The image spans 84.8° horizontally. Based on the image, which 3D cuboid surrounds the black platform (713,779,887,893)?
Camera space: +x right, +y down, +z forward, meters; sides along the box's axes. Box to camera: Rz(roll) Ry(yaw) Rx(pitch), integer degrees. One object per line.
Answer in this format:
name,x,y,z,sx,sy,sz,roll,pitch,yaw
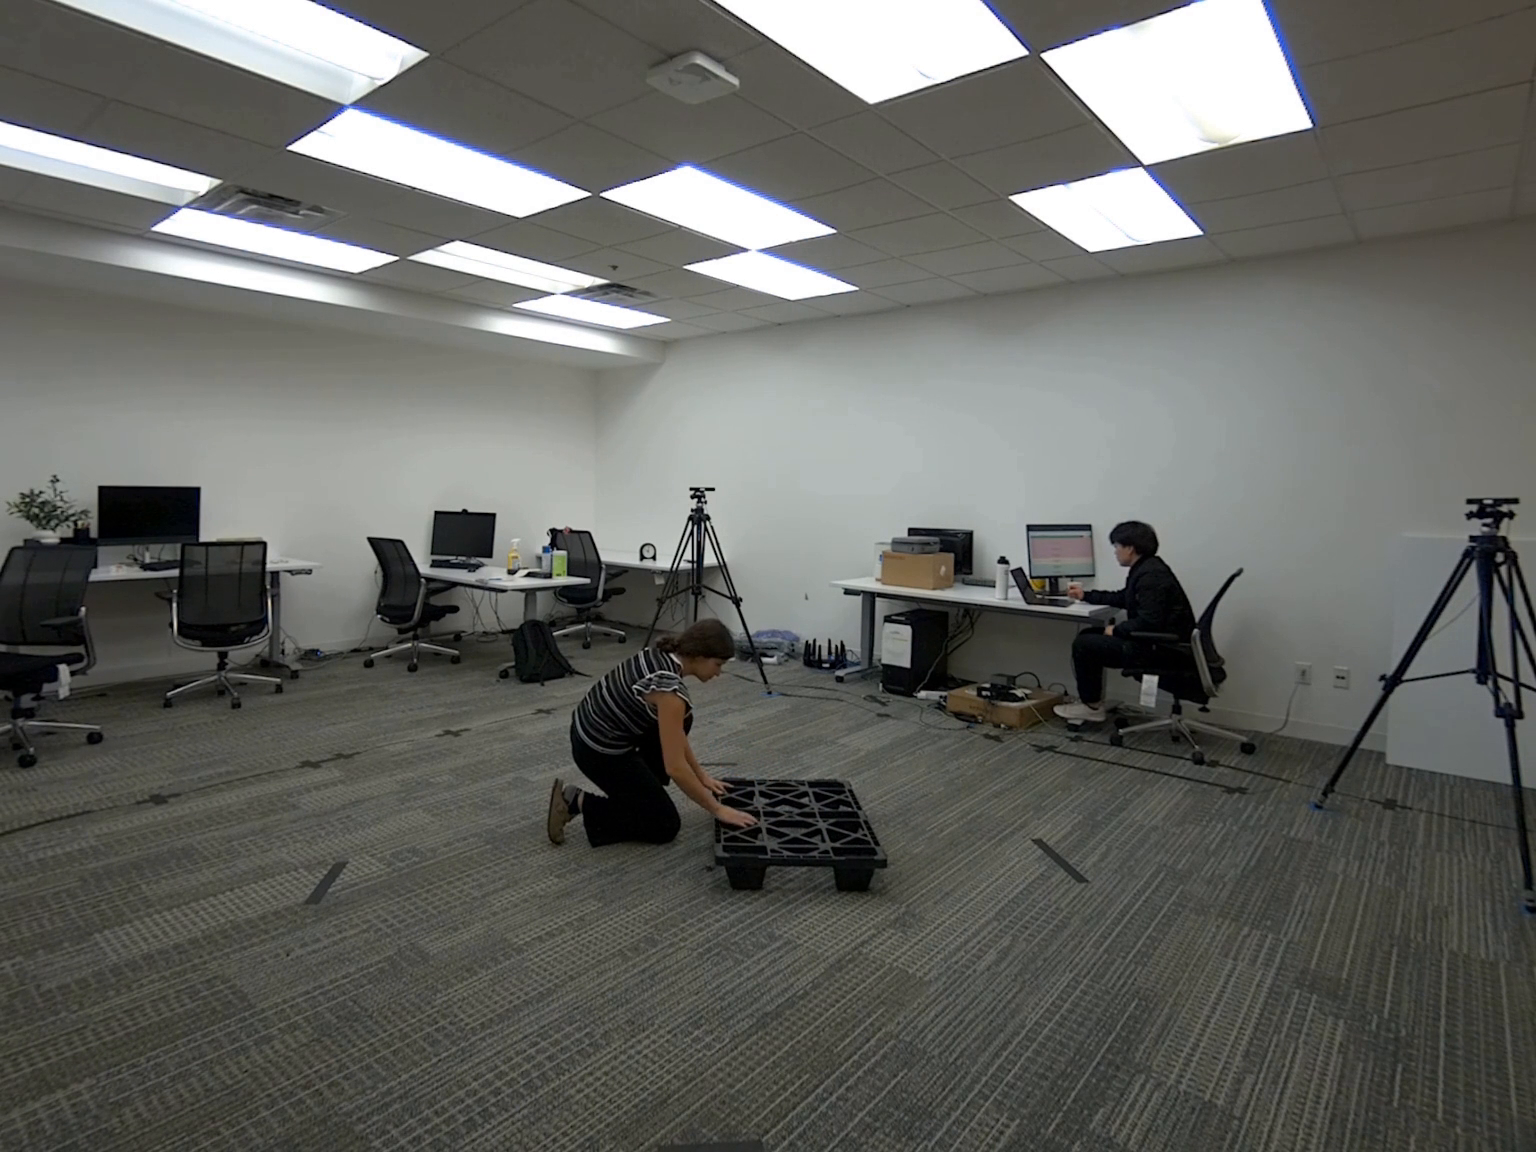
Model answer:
black platform,0.071,0.986,3.304,0.604,0.143,0.810,1,5,-3
